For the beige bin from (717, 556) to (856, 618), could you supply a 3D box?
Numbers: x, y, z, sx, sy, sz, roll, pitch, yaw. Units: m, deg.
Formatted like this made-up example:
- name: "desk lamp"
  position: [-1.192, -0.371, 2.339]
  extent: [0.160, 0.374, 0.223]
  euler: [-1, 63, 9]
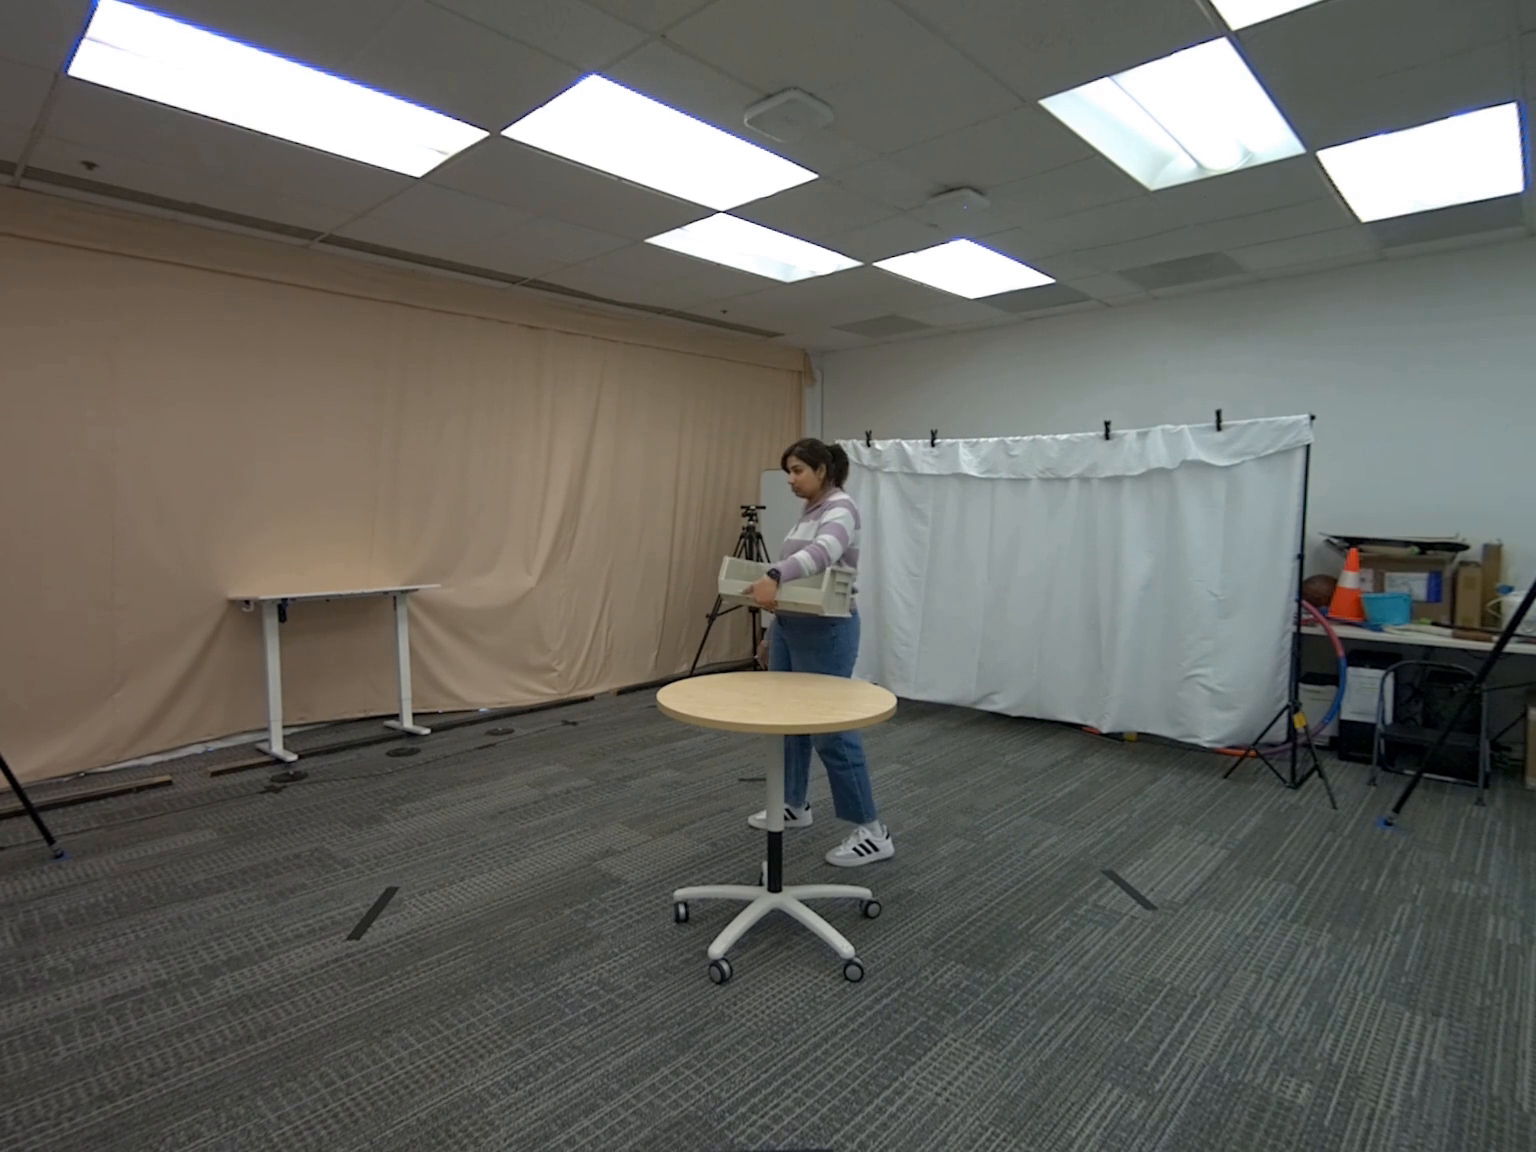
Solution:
- name: "beige bin"
  position: [0.089, 0.043, 3.192]
  extent: [0.433, 0.189, 0.367]
  euler: [4, -3, 24]
